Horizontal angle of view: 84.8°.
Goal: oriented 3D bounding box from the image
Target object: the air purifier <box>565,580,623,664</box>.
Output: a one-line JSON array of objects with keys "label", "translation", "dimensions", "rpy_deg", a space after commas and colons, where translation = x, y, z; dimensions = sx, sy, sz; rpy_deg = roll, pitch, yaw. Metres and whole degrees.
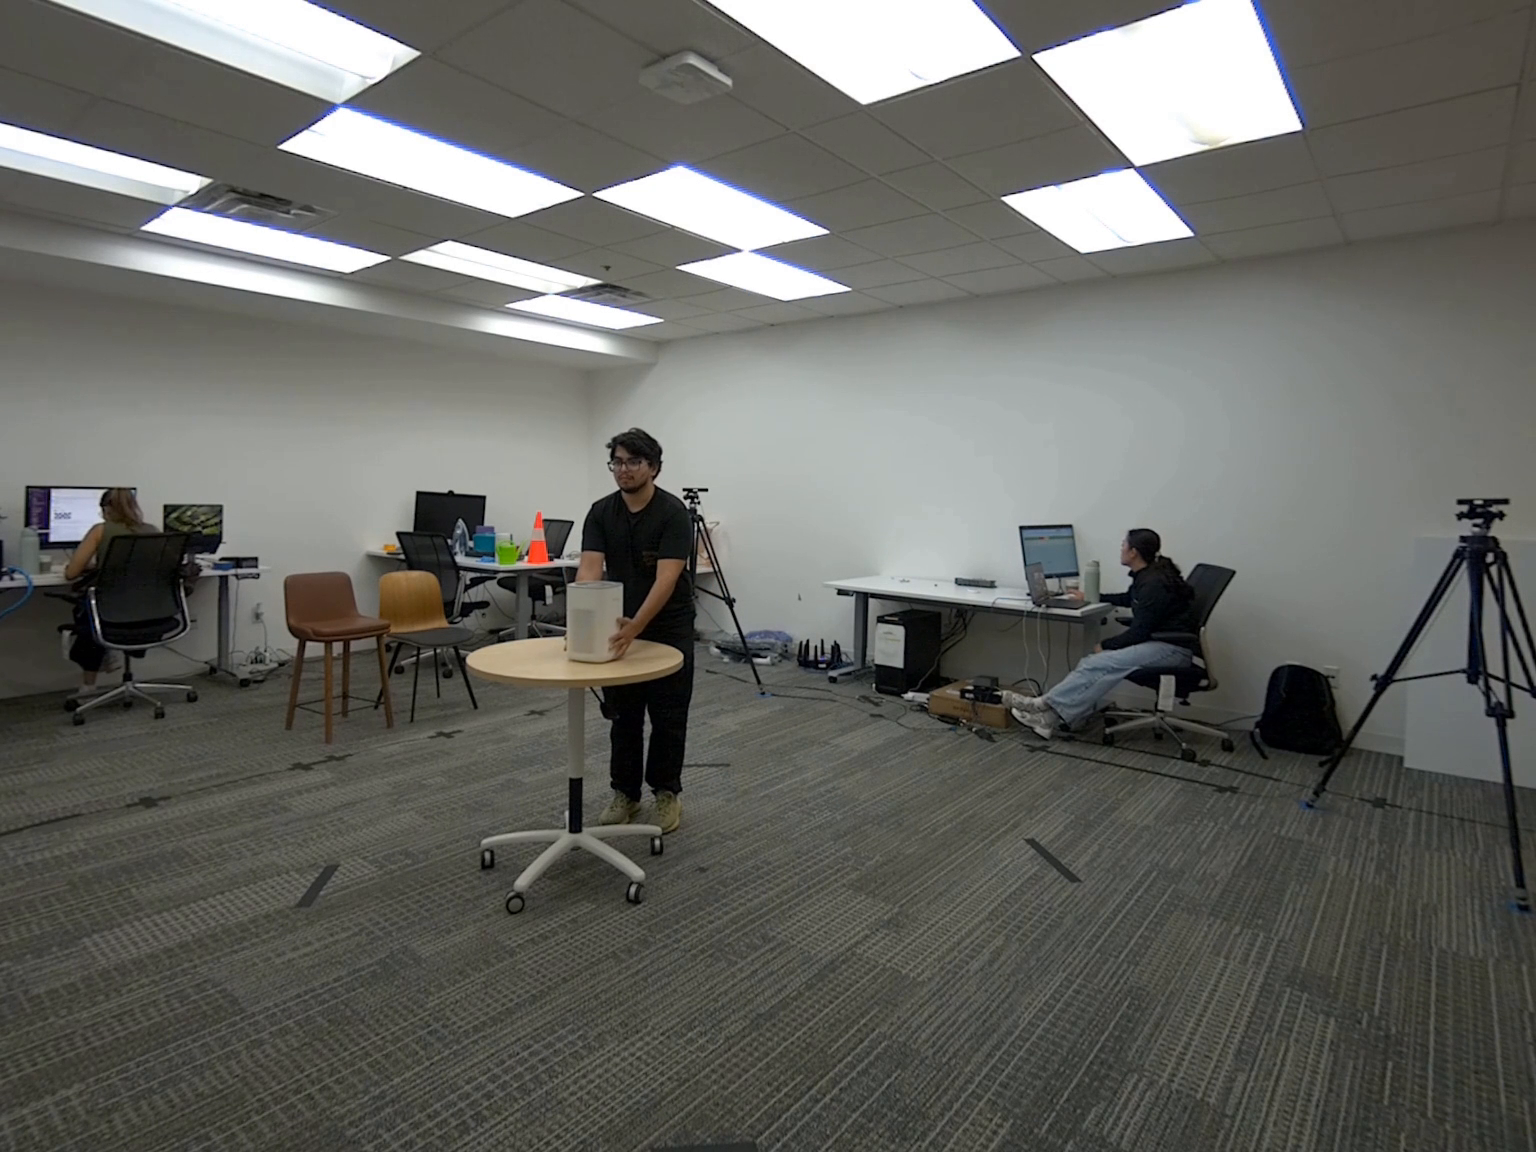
[{"label": "air purifier", "translation": [-0.622, 0.151, 2.985], "dimensions": [0.175, 0.264, 0.168], "rpy_deg": [4, 4, 17]}]
